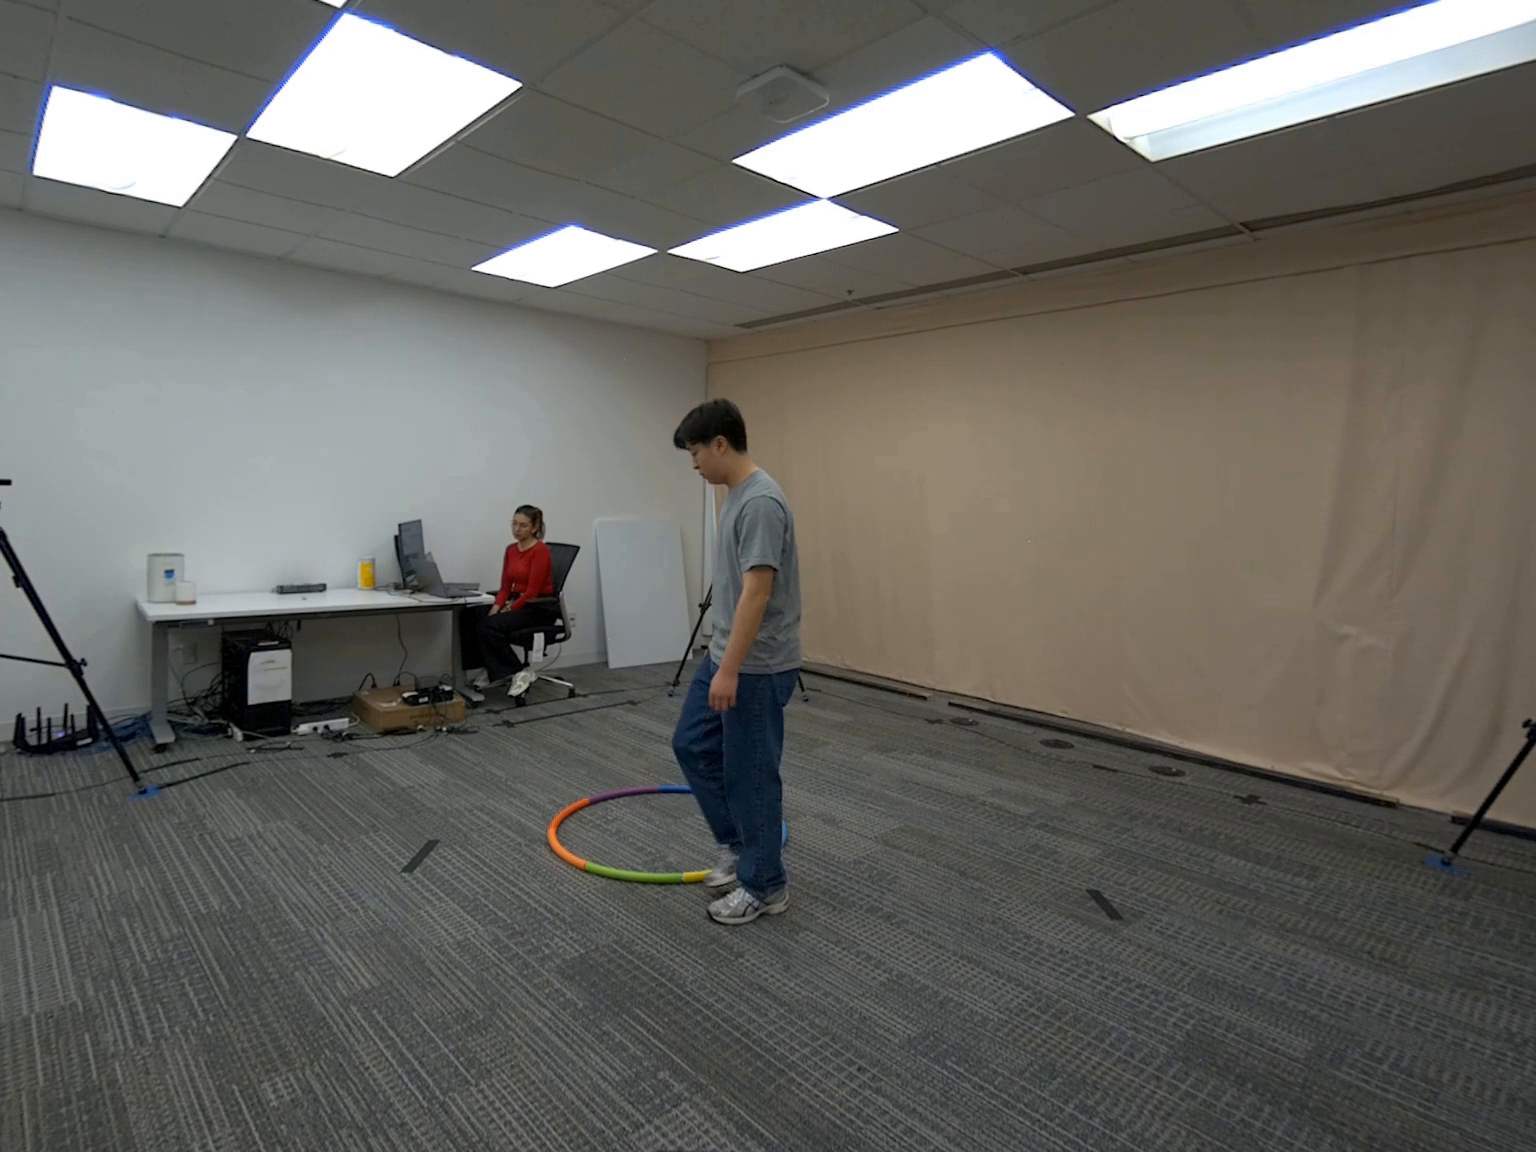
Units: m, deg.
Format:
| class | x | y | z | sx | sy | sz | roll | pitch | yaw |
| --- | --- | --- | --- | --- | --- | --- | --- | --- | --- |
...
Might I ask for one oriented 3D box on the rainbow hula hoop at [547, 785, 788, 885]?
| class | x | y | z | sx | sy | sz | roll | pitch | yaw |
| --- | --- | --- | --- | --- | --- | --- | --- | --- | --- |
| rainbow hula hoop | -0.421 | 1.035 | 3.506 | 0.978 | 0.035 | 0.982 | 2 | 5 | -1 |
